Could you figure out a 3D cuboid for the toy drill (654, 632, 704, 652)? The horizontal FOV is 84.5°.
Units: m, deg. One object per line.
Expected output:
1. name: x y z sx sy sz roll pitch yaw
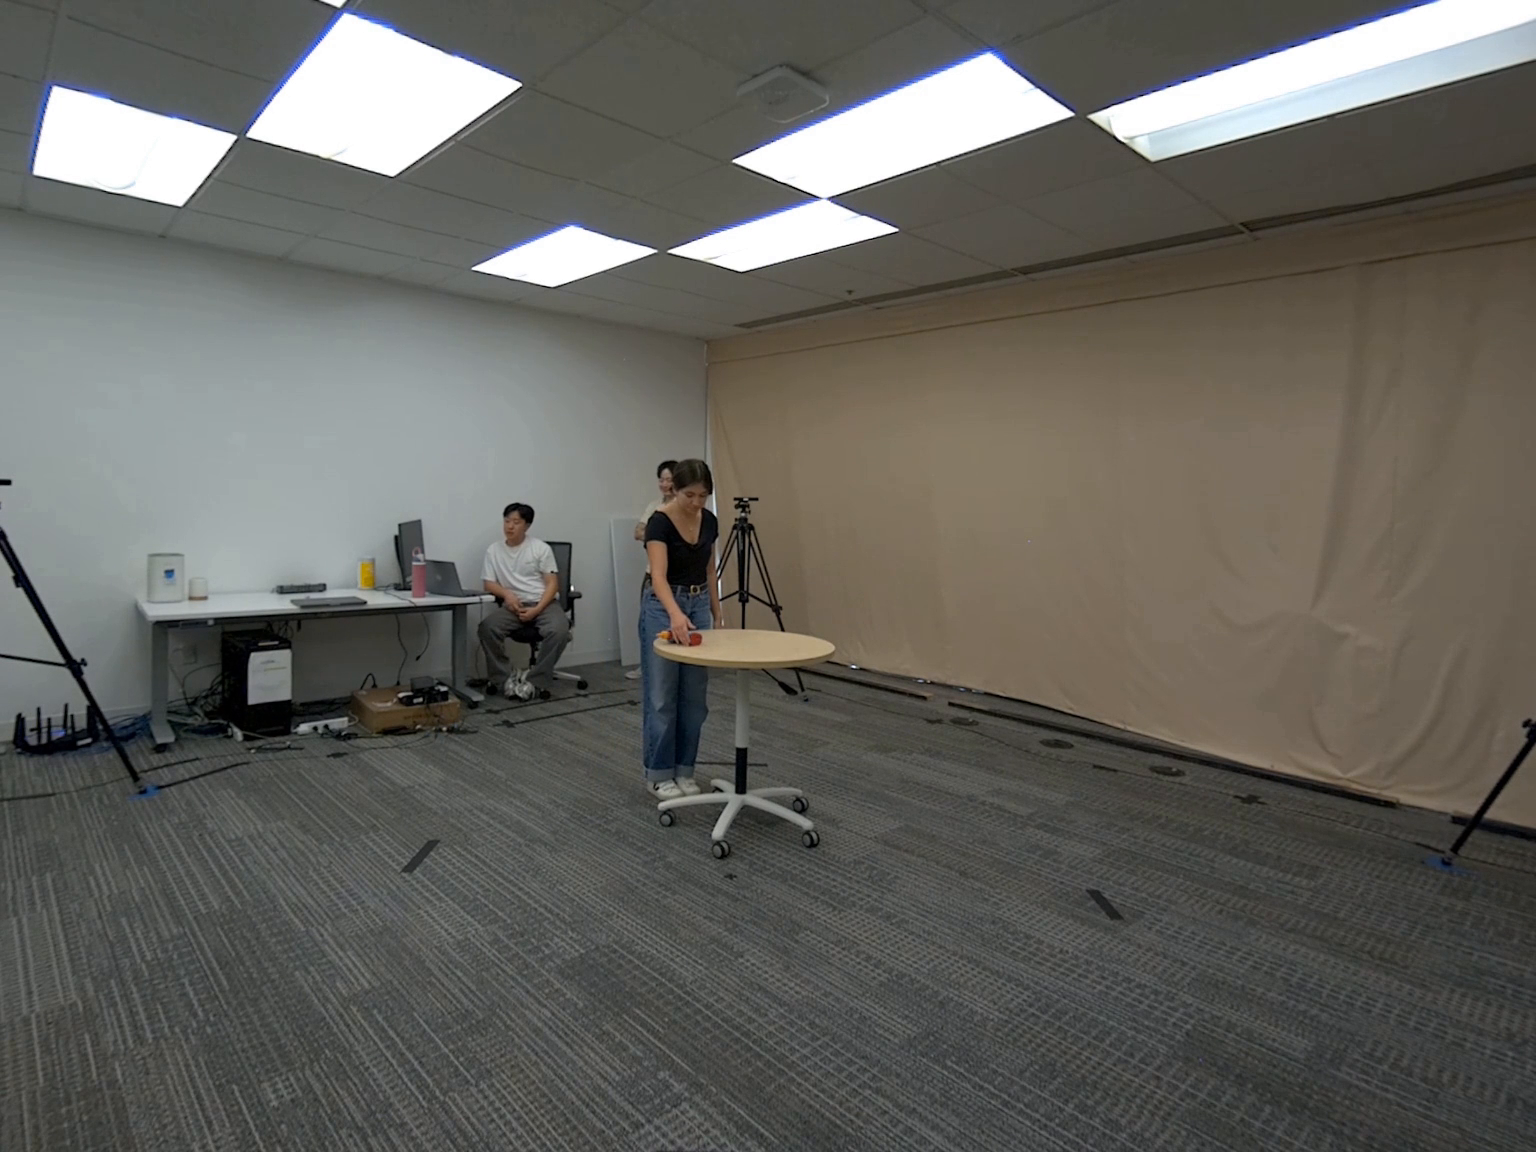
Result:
1. toy drill: -0.383 0.264 3.496 0.150 0.061 0.165 8 -1 40
